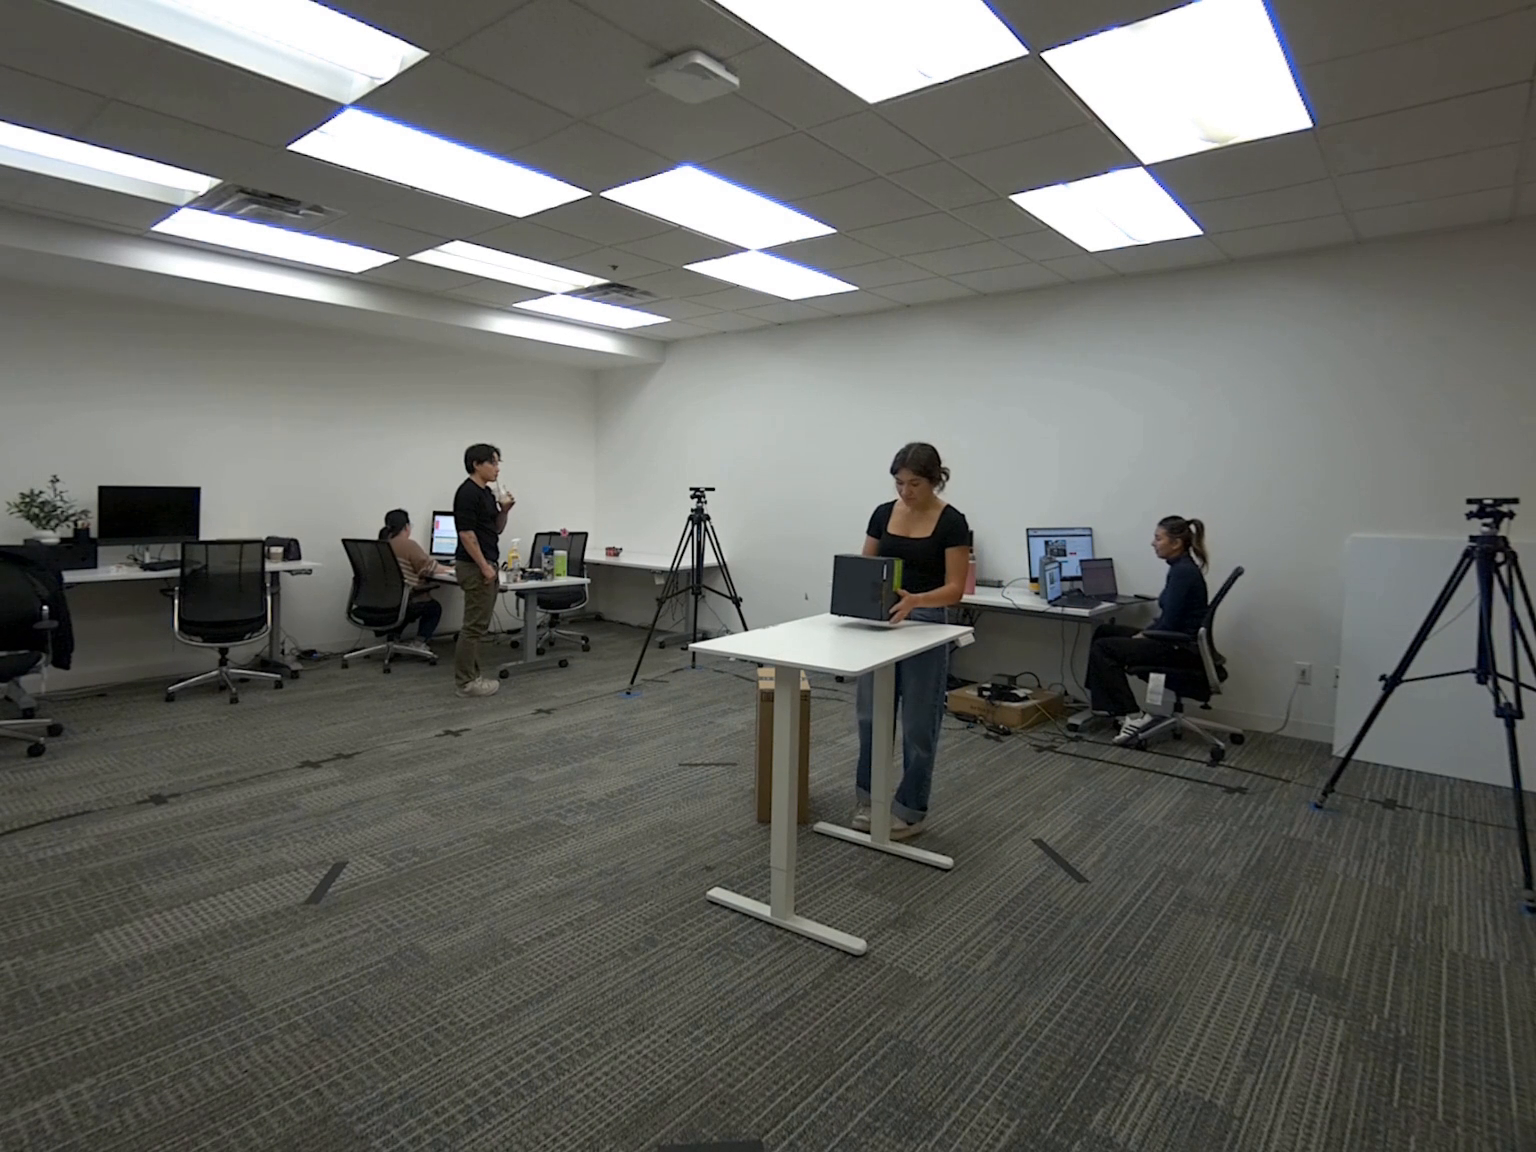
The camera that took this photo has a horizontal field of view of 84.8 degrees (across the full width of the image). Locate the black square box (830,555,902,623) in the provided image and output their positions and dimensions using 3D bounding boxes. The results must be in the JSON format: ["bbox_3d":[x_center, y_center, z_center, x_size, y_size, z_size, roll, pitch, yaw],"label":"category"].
[{"bbox_3d":[0.361,0.039,3.189,0.224,0.227,0.151,6,2,34],"label":"black square box"}]
